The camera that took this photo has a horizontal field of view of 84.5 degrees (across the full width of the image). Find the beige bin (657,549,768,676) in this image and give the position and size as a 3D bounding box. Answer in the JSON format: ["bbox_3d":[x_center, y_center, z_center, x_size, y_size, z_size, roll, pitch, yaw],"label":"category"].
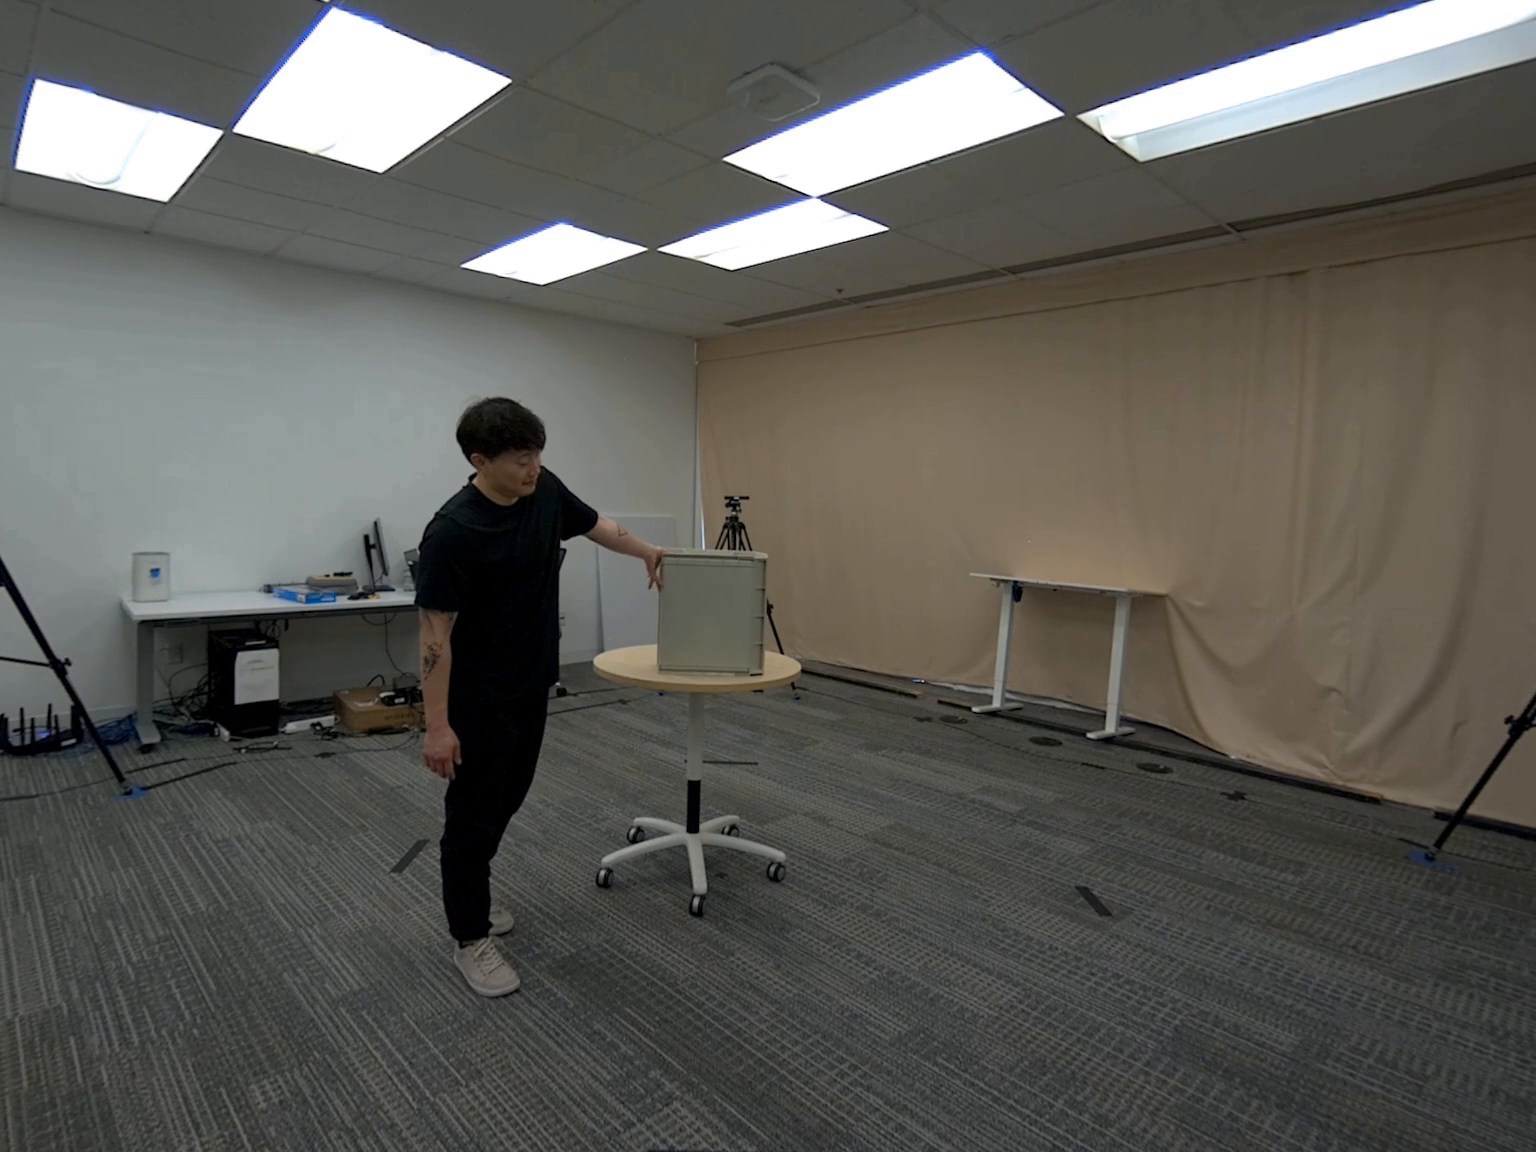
[{"bbox_3d":[-0.206,0.125,2.953,0.376,0.421,0.190,3,5,-3],"label":"beige bin"}]
